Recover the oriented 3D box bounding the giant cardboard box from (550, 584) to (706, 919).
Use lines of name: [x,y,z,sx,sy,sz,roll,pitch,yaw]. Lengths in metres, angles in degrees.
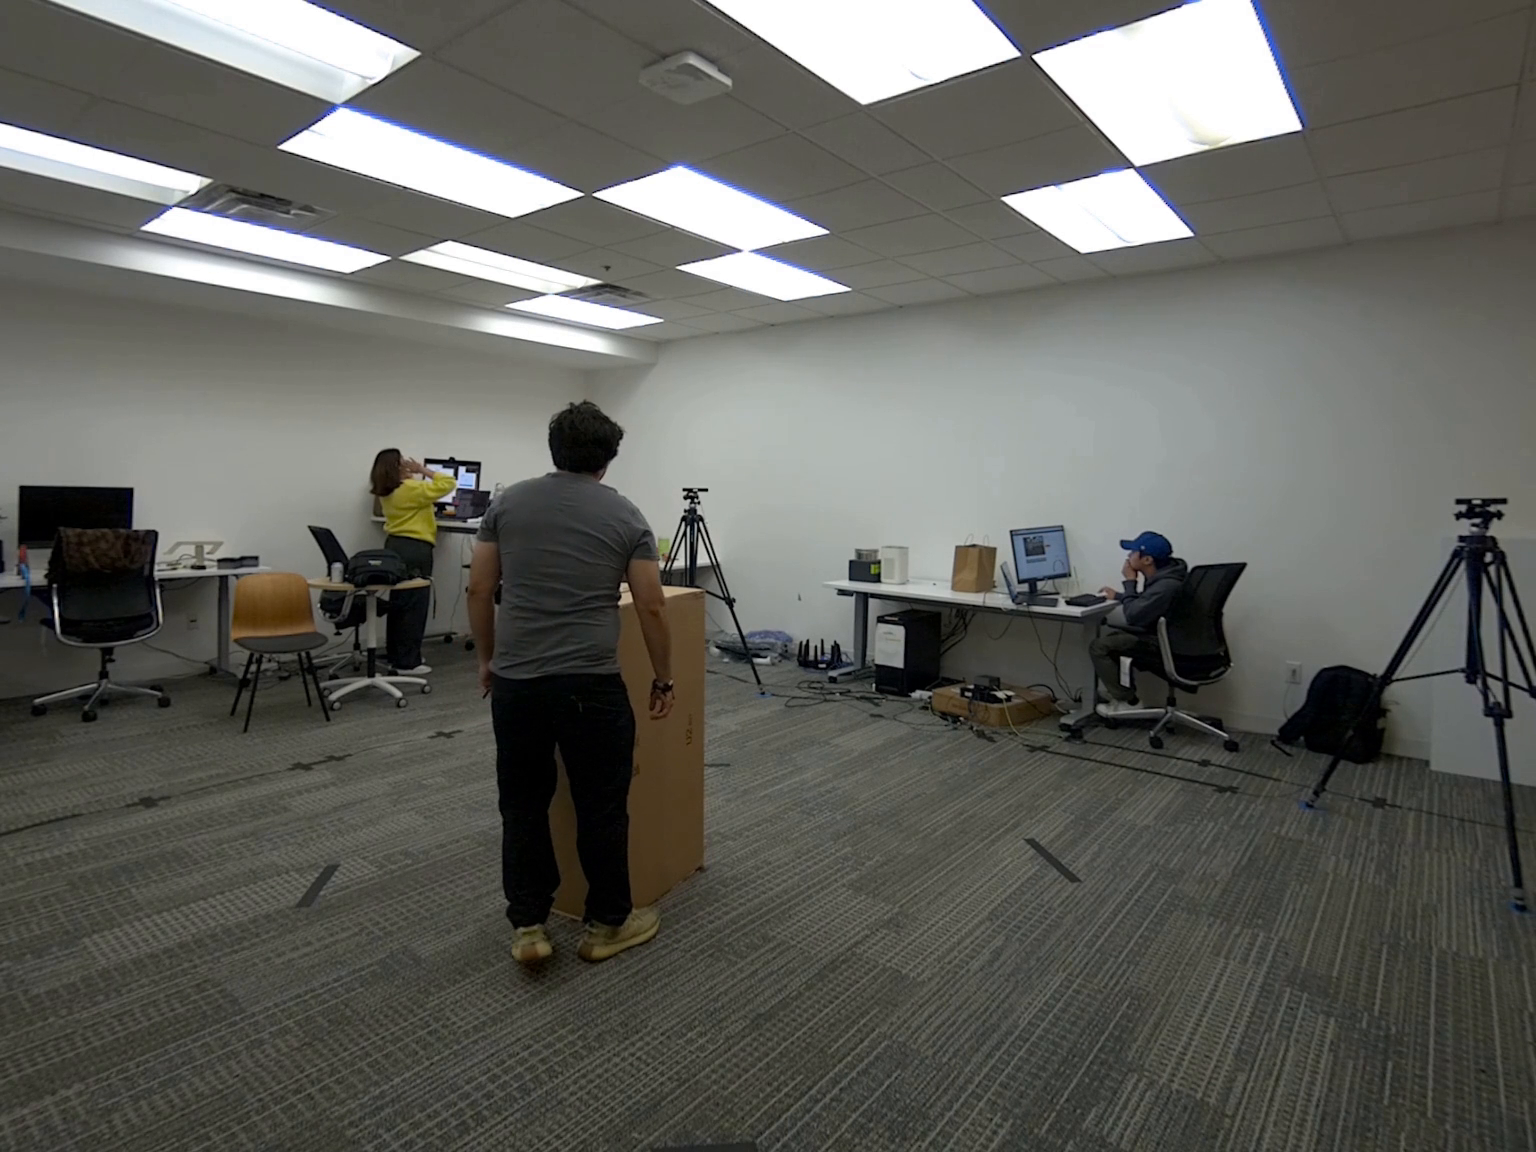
giant cardboard box: [-0.554,0.572,2.981,0.459,1.024,0.570,3,4,27]
